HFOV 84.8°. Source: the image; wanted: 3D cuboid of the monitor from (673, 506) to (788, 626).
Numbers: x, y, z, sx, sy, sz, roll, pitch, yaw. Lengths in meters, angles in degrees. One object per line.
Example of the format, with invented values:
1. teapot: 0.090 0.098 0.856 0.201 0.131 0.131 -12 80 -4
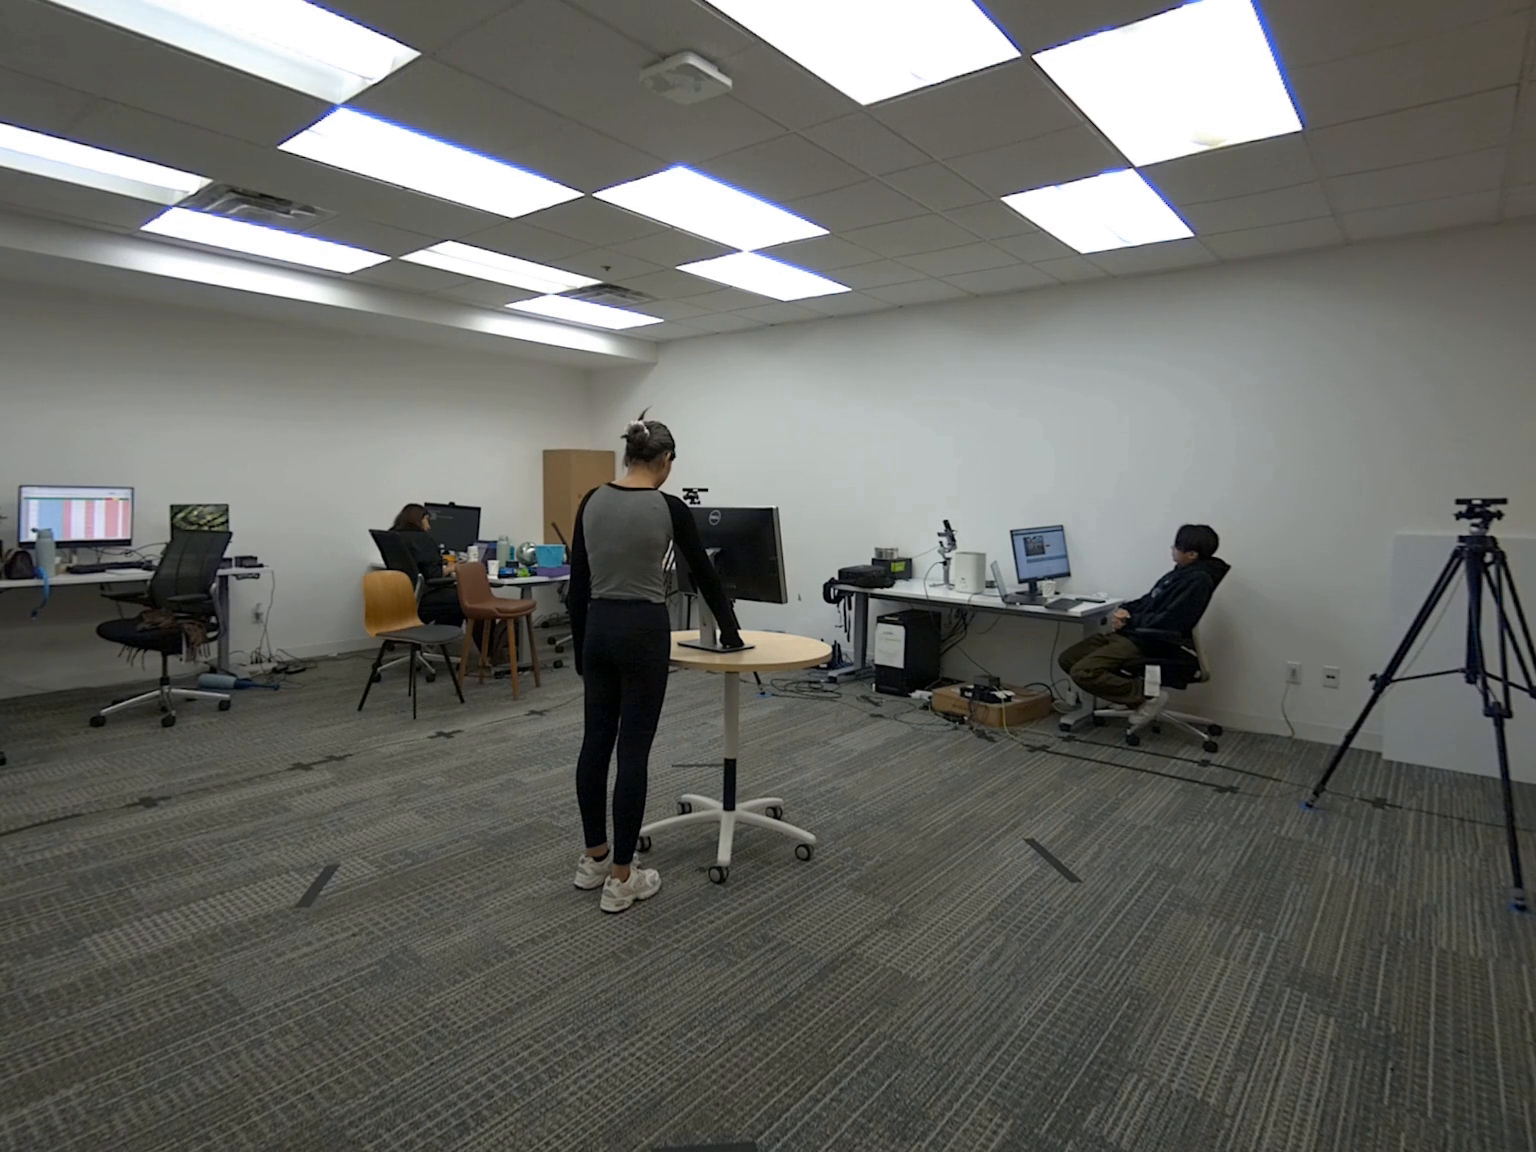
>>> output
1. monitor: -0.201 0.000 3.248 0.557 0.522 0.181 4 2 40
